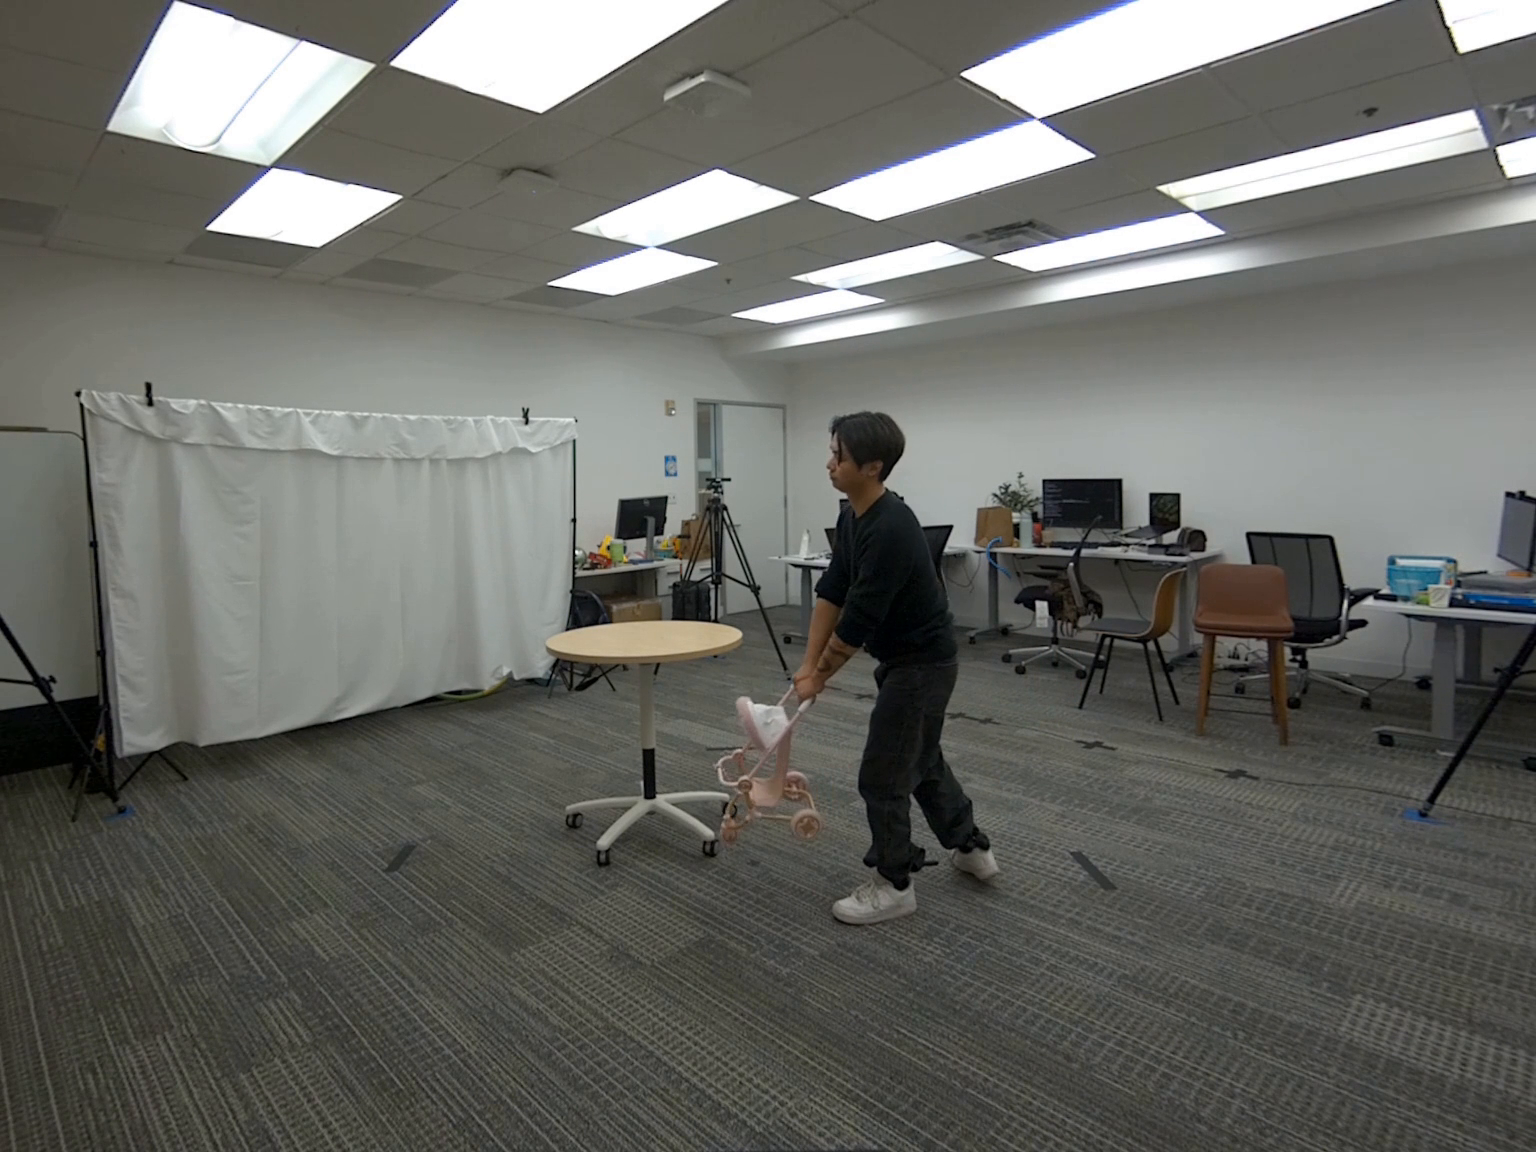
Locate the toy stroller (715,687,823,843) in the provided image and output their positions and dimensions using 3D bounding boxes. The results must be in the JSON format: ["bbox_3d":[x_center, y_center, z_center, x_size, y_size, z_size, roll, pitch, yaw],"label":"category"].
[{"bbox_3d":[-0.010,0.624,2.791,0.341,0.528,0.285,-5,14,0],"label":"toy stroller"}]
